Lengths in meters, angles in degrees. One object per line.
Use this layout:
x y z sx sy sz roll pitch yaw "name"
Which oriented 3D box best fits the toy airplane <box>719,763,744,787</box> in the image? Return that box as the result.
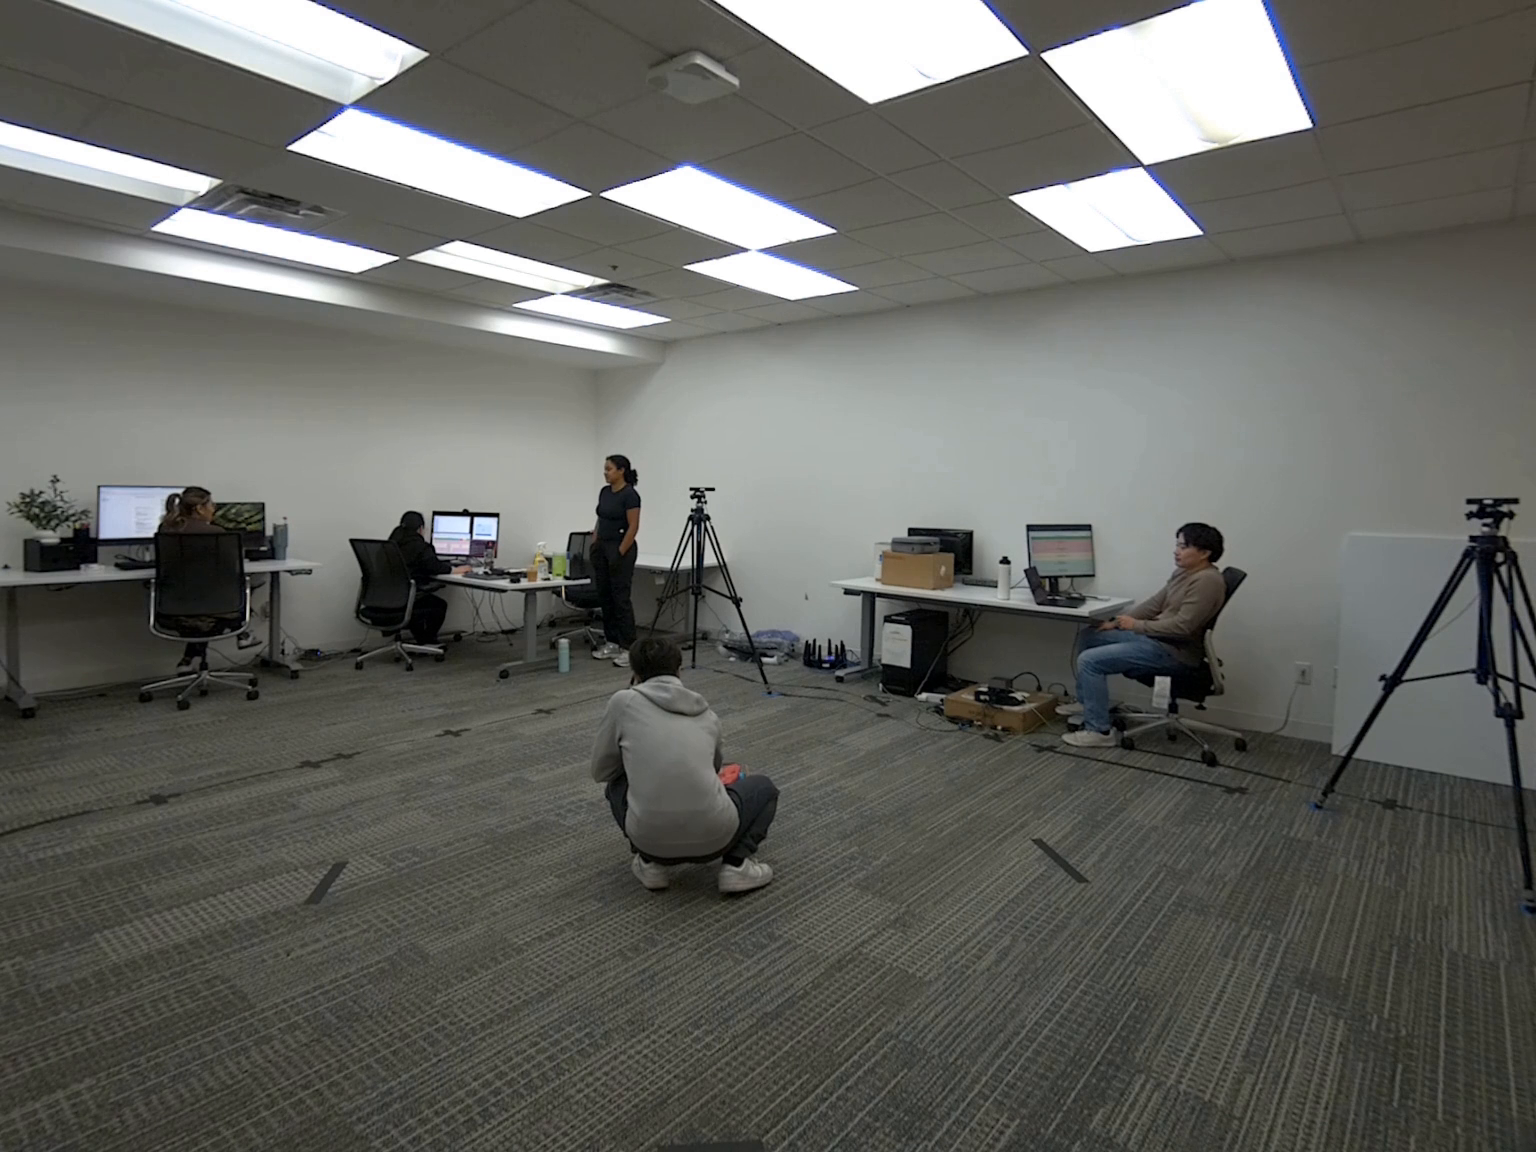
-0.216 0.931 3.716 0.253 0.156 0.257 0 5 -23 "toy airplane"
